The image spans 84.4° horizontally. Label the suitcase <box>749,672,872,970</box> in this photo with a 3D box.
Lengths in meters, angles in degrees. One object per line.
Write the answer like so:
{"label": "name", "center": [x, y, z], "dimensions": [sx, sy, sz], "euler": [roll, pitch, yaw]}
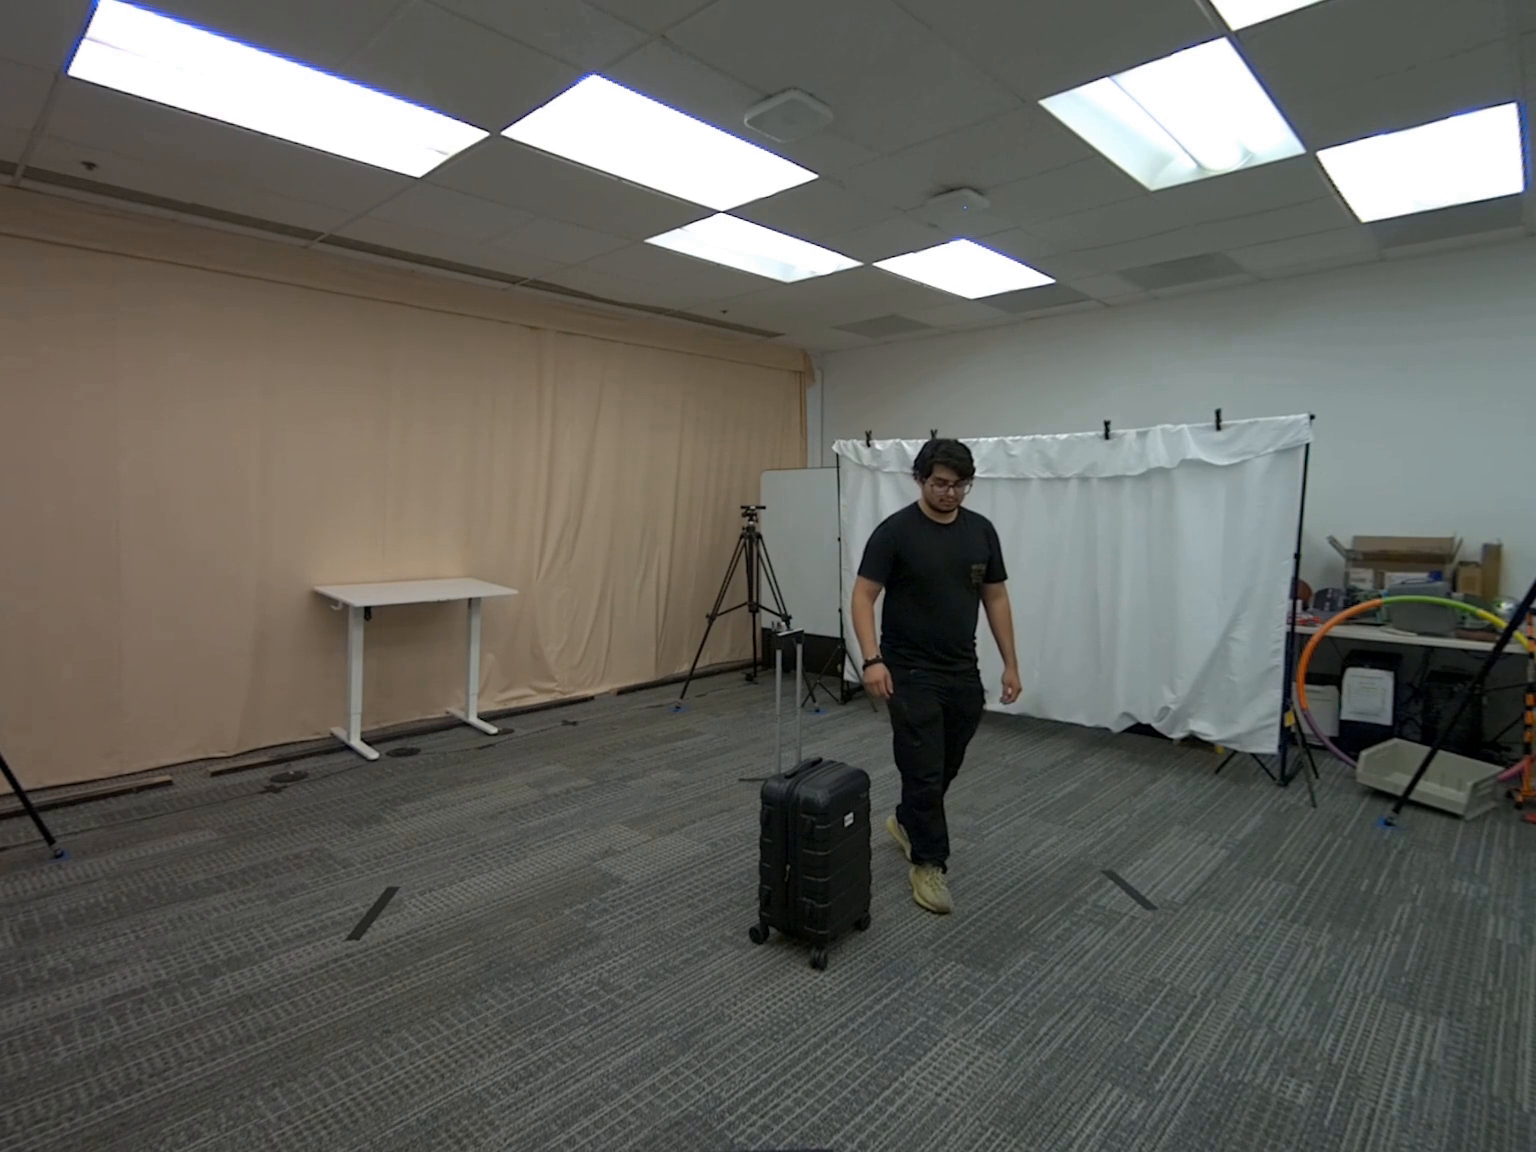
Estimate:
{"label": "suitcase", "center": [0.165, 0.689, 2.710], "dimensions": [0.265, 0.977, 0.373], "euler": [4, 3, 34]}
